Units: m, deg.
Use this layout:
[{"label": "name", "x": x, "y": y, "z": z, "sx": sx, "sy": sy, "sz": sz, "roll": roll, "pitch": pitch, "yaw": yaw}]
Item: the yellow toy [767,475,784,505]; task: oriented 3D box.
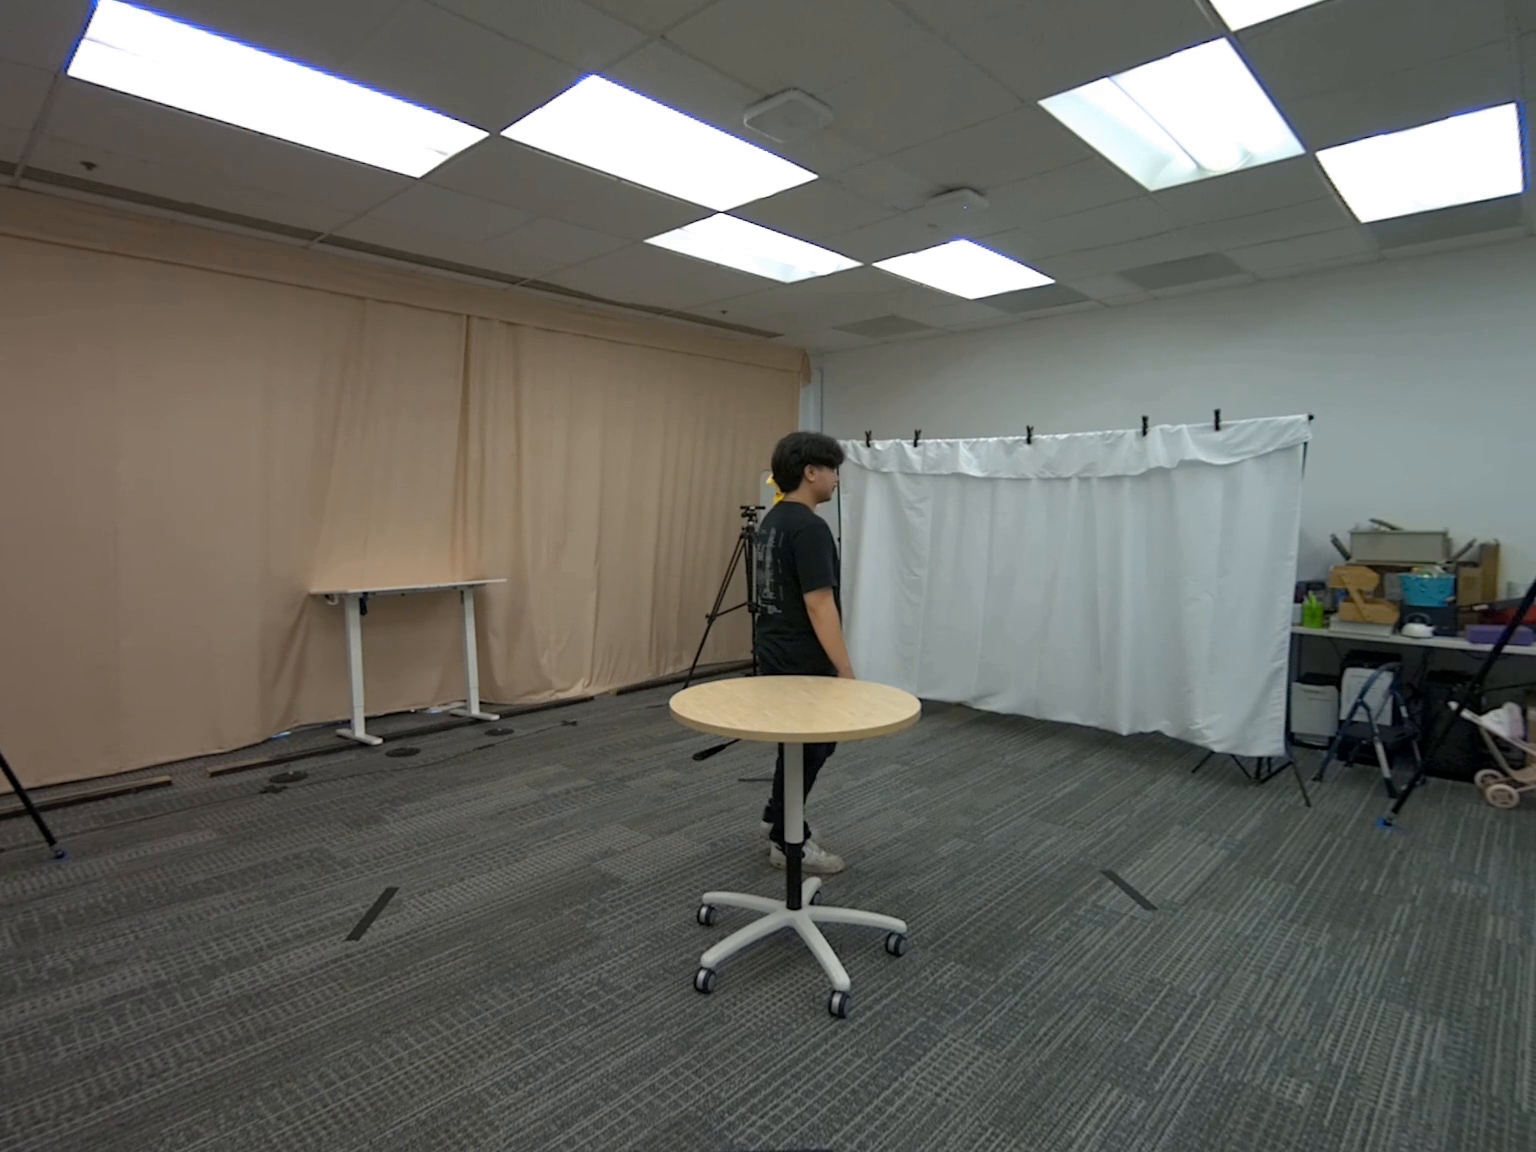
[{"label": "yellow toy", "x": 0.120, "y": -0.401, "z": 3.350, "sx": 0.197, "sy": 0.229, "sz": 0.201, "roll": 10, "pitch": 11, "yaw": 18}]
